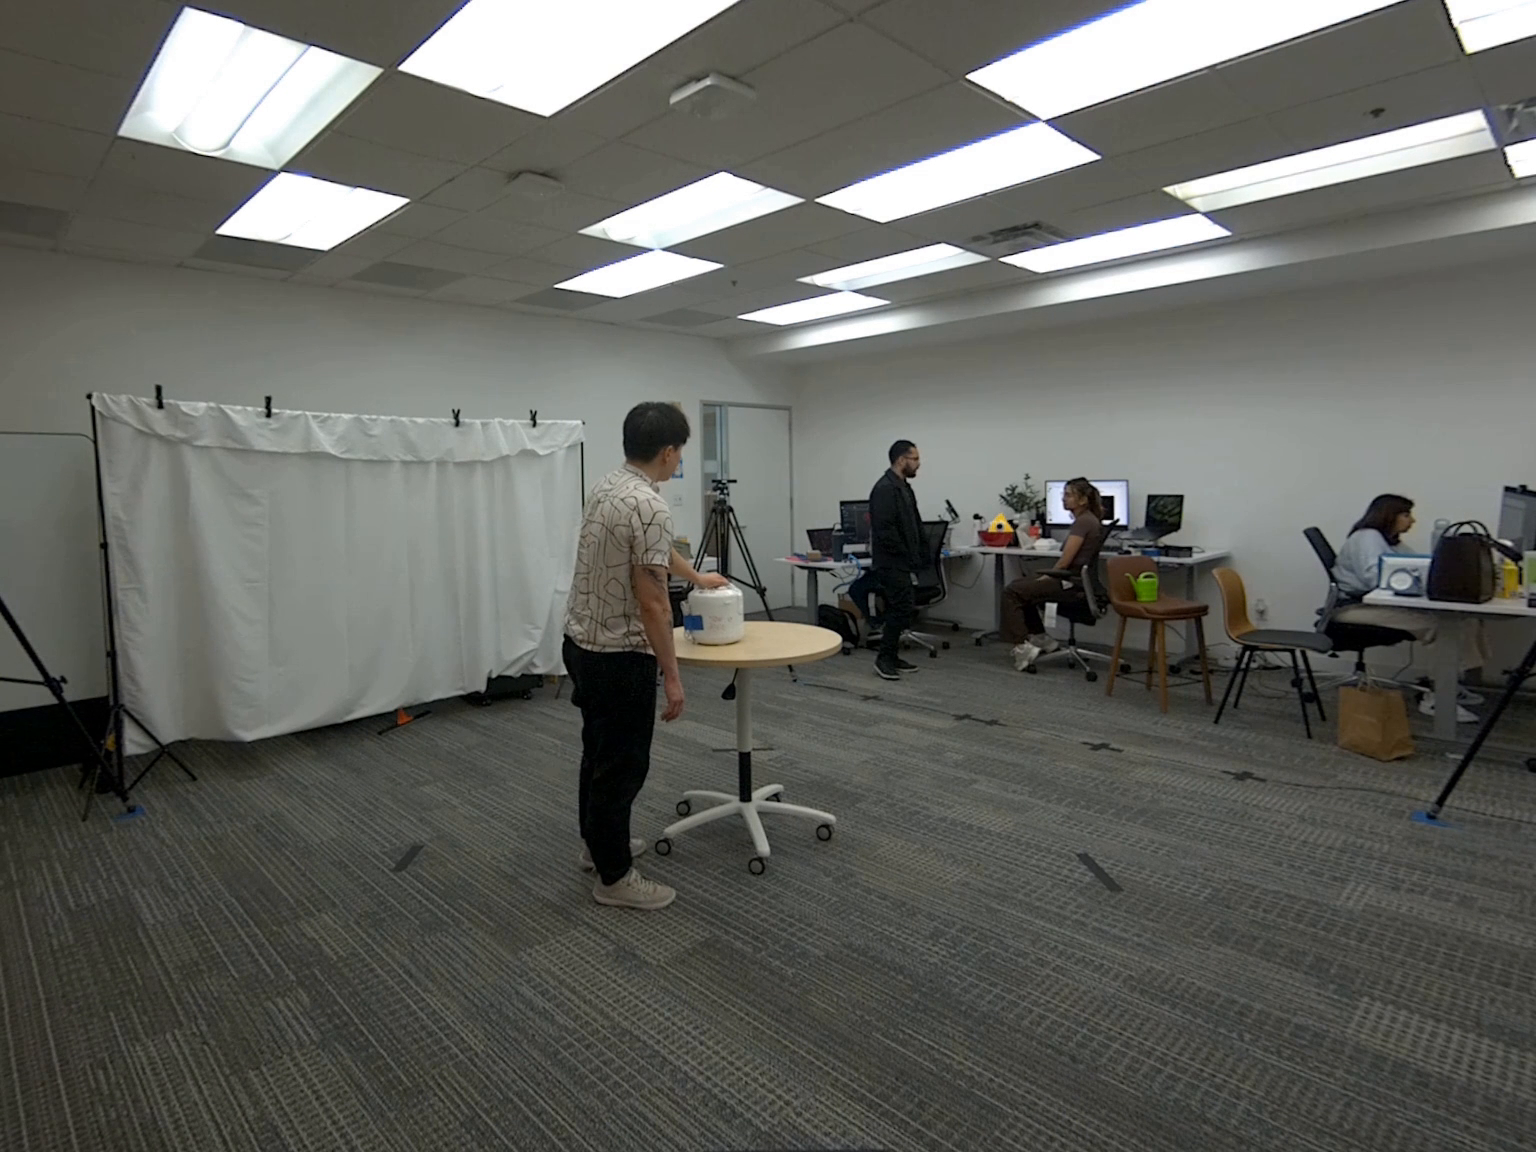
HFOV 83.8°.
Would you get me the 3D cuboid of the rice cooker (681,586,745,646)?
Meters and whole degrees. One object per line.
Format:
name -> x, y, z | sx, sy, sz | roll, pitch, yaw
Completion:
rice cooker -> -0.195, 0.134, 3.269 | 0.226, 0.232, 0.213 | 1, 6, 26
